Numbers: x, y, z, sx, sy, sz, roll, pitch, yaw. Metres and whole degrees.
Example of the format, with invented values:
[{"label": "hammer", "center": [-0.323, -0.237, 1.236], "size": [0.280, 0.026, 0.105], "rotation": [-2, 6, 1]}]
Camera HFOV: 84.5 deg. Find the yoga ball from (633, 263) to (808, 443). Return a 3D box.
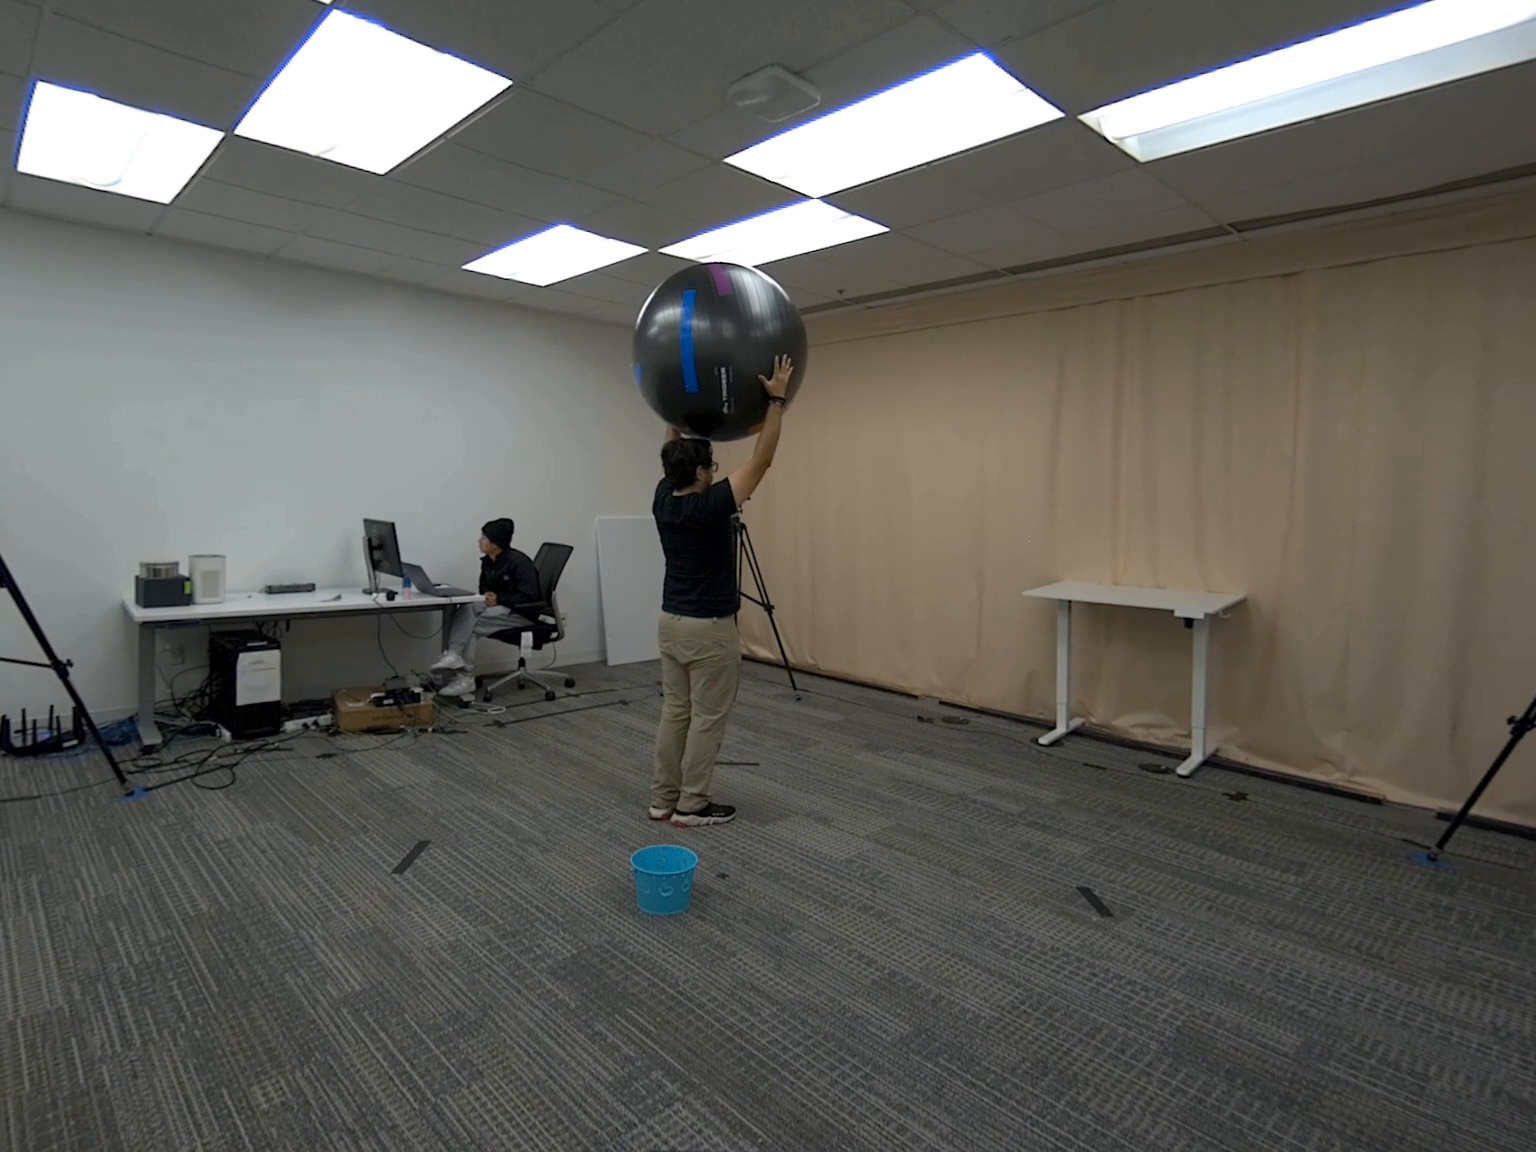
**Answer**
[{"label": "yoga ball", "center": [-0.212, -0.958, 3.638], "size": [0.757, 0.756, 0.761], "rotation": [1, 4, -1]}]
